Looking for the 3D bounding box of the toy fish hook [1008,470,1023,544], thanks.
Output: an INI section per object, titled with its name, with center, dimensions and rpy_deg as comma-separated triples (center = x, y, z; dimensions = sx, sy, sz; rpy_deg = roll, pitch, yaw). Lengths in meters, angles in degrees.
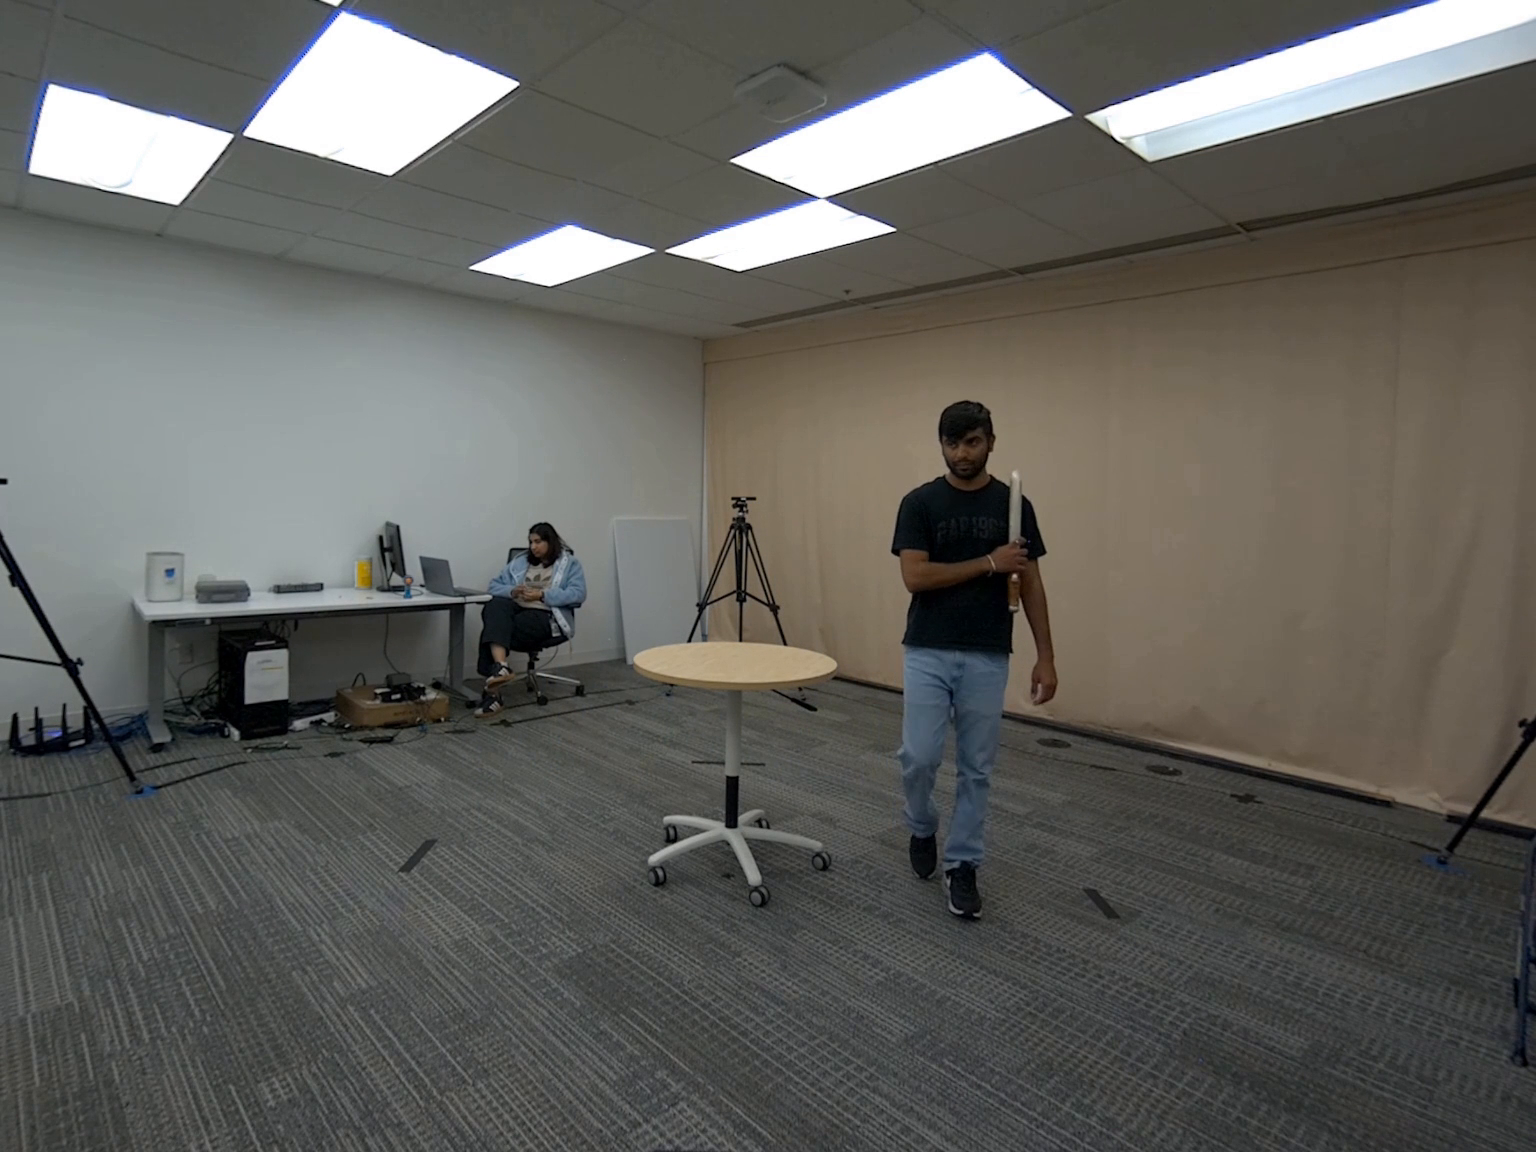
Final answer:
[toy fish hook]
center = 0.845, -0.118, 2.923
dimensions = 0.049, 0.511, 0.219
rpy_deg = 0, -15, 21
